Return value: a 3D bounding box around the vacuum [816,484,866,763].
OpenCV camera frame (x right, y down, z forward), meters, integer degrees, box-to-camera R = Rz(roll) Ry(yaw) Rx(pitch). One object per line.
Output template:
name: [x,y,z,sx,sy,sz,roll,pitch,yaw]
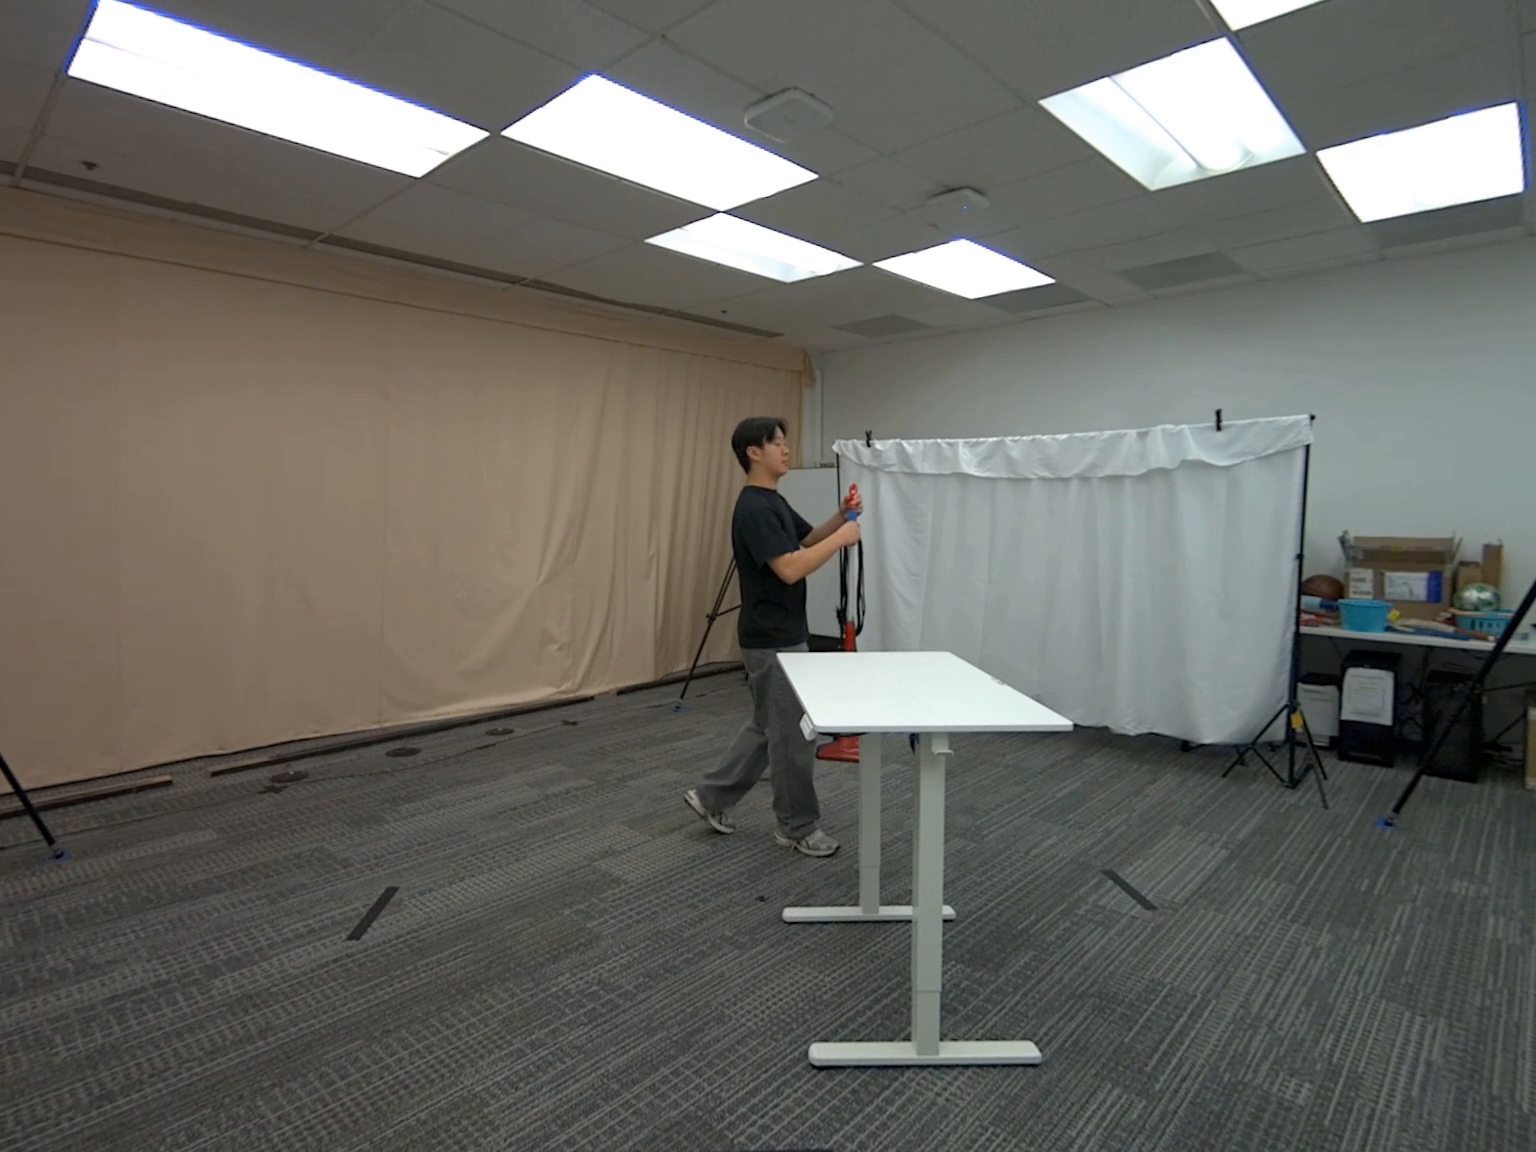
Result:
vacuum: [0.349,0.167,3.391,0.254,1.048,0.143,1,1,3]
